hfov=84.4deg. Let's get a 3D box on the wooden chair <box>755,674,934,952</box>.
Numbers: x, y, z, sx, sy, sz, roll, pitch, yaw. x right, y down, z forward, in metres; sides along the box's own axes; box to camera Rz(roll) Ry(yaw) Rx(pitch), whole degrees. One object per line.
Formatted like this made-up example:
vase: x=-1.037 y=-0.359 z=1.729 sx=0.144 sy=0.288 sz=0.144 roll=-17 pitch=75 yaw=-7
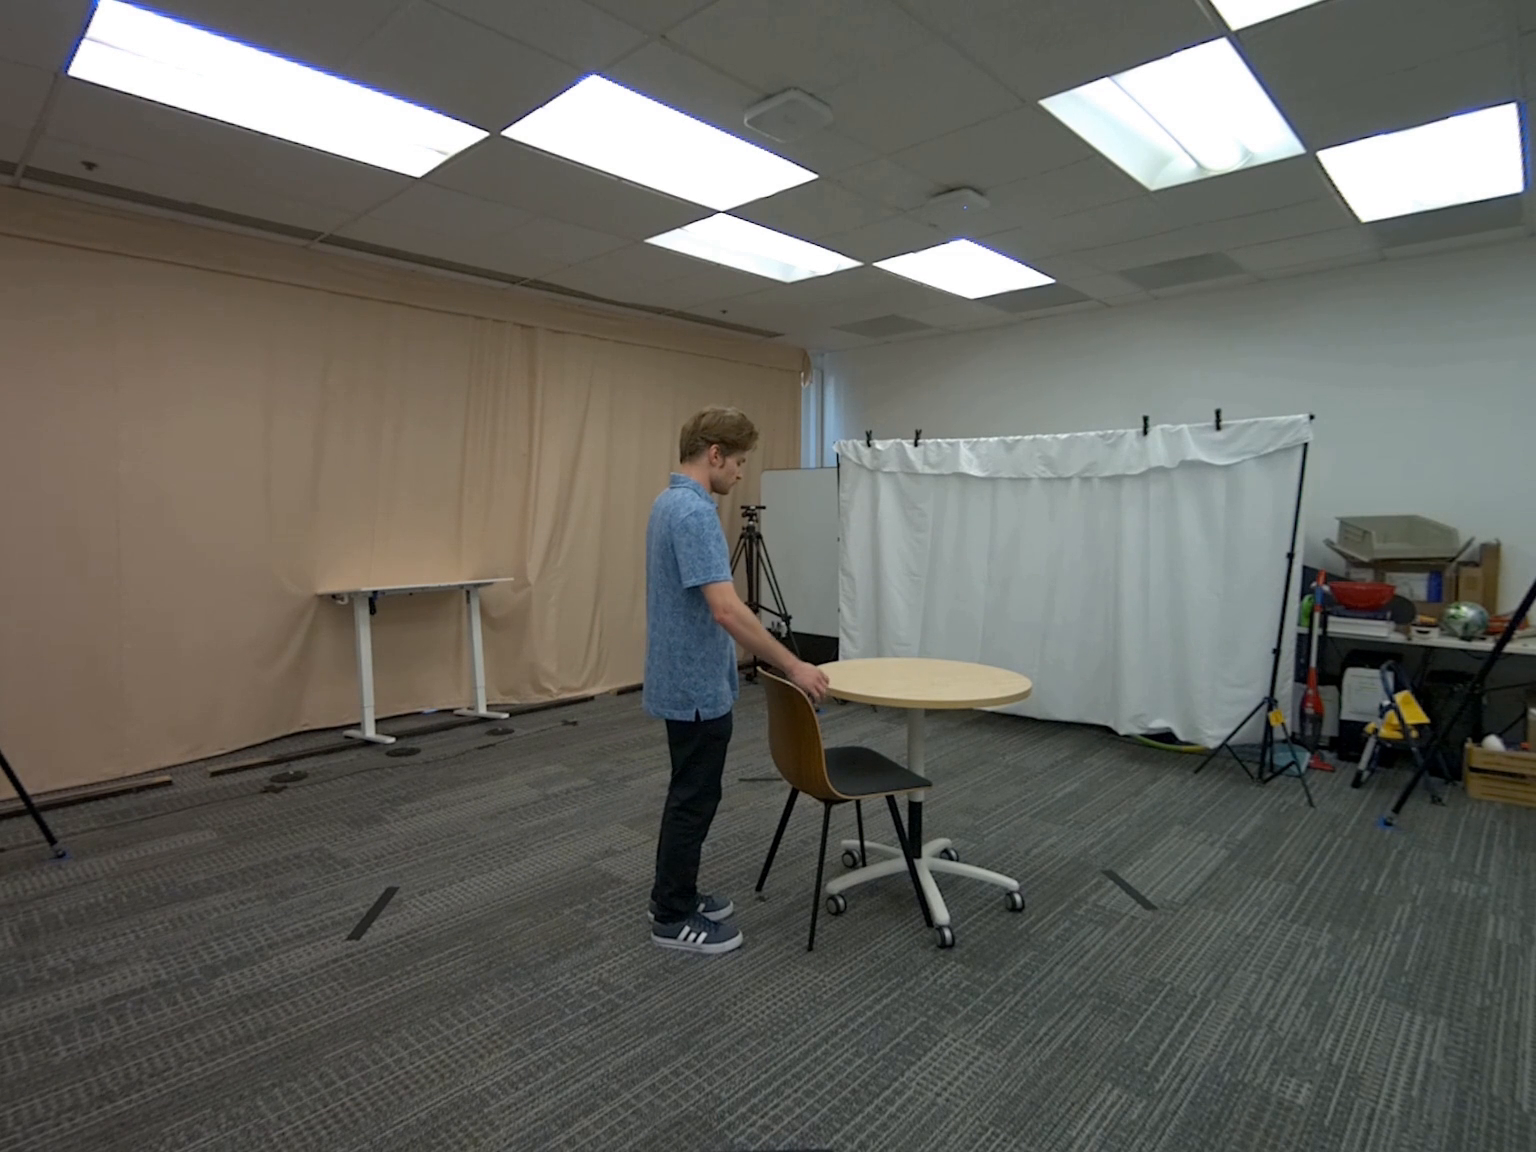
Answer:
wooden chair: x=0.256 y=0.722 z=2.879 sx=0.513 sy=0.875 sz=0.489 roll=-6 pitch=5 yaw=-21
